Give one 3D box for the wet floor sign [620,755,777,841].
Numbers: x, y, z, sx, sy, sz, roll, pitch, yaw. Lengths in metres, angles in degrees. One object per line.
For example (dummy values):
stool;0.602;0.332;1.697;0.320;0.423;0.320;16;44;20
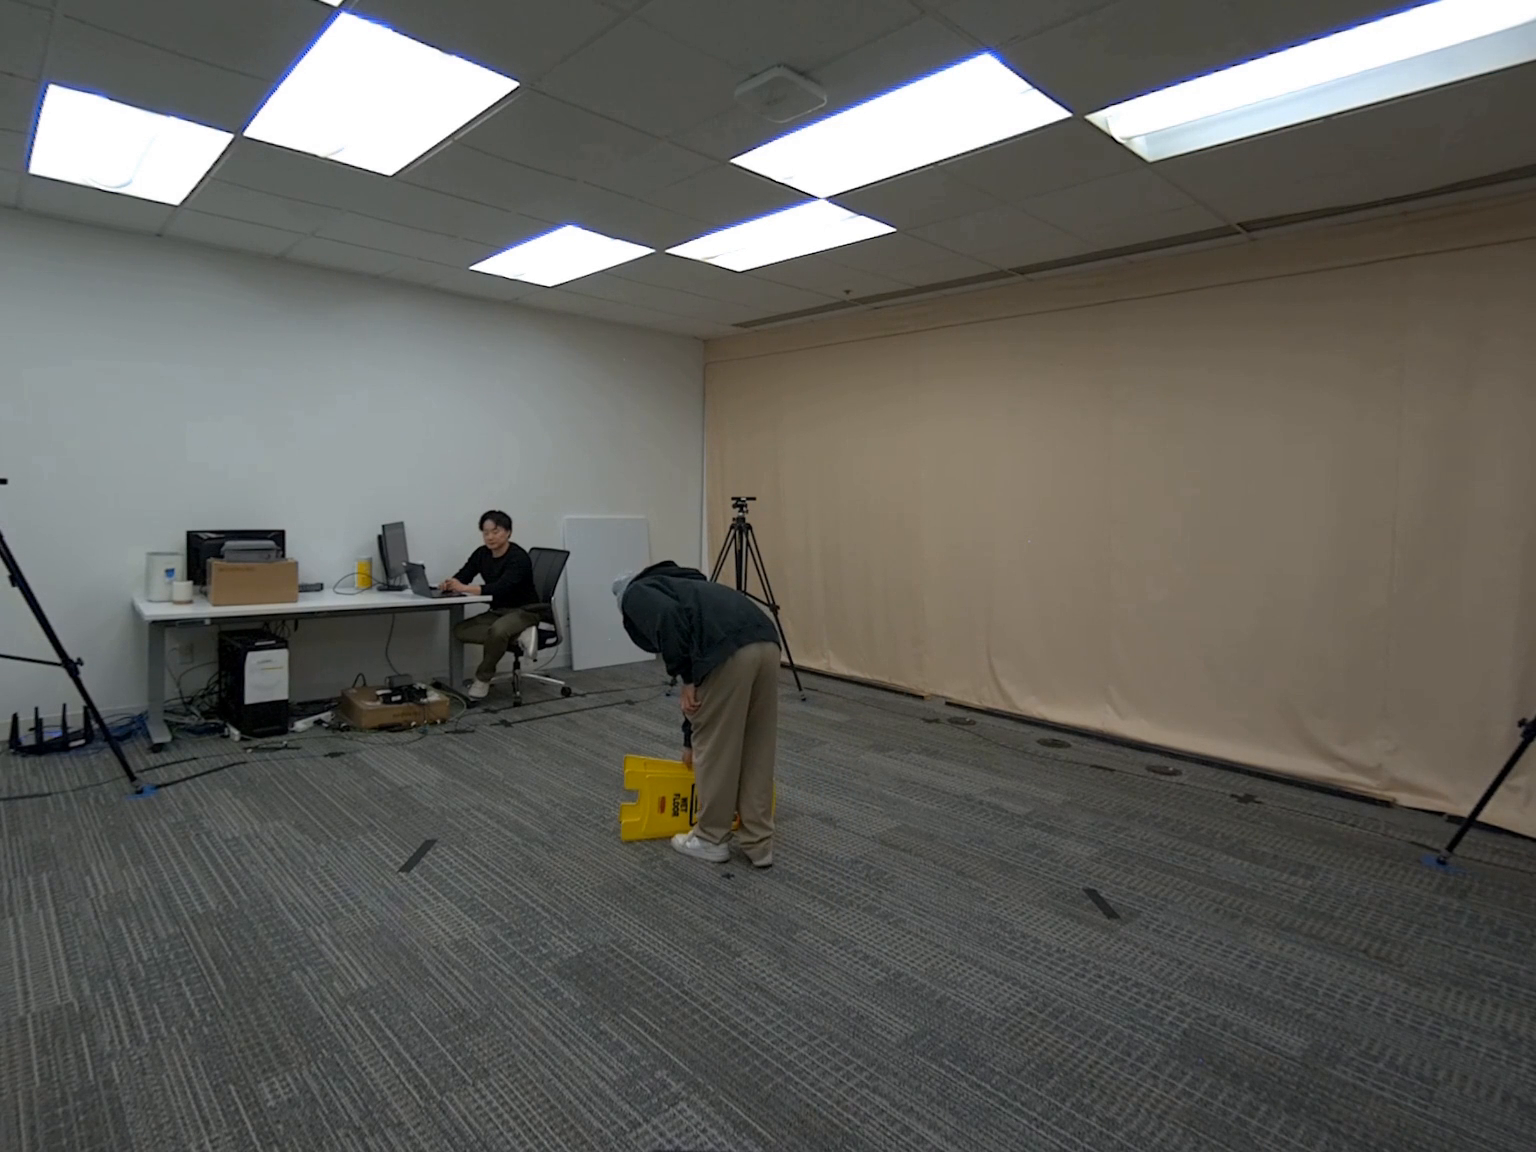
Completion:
wet floor sign;-0.297;0.937;3.557;0.641;0.282;0.292;4;0;-9
